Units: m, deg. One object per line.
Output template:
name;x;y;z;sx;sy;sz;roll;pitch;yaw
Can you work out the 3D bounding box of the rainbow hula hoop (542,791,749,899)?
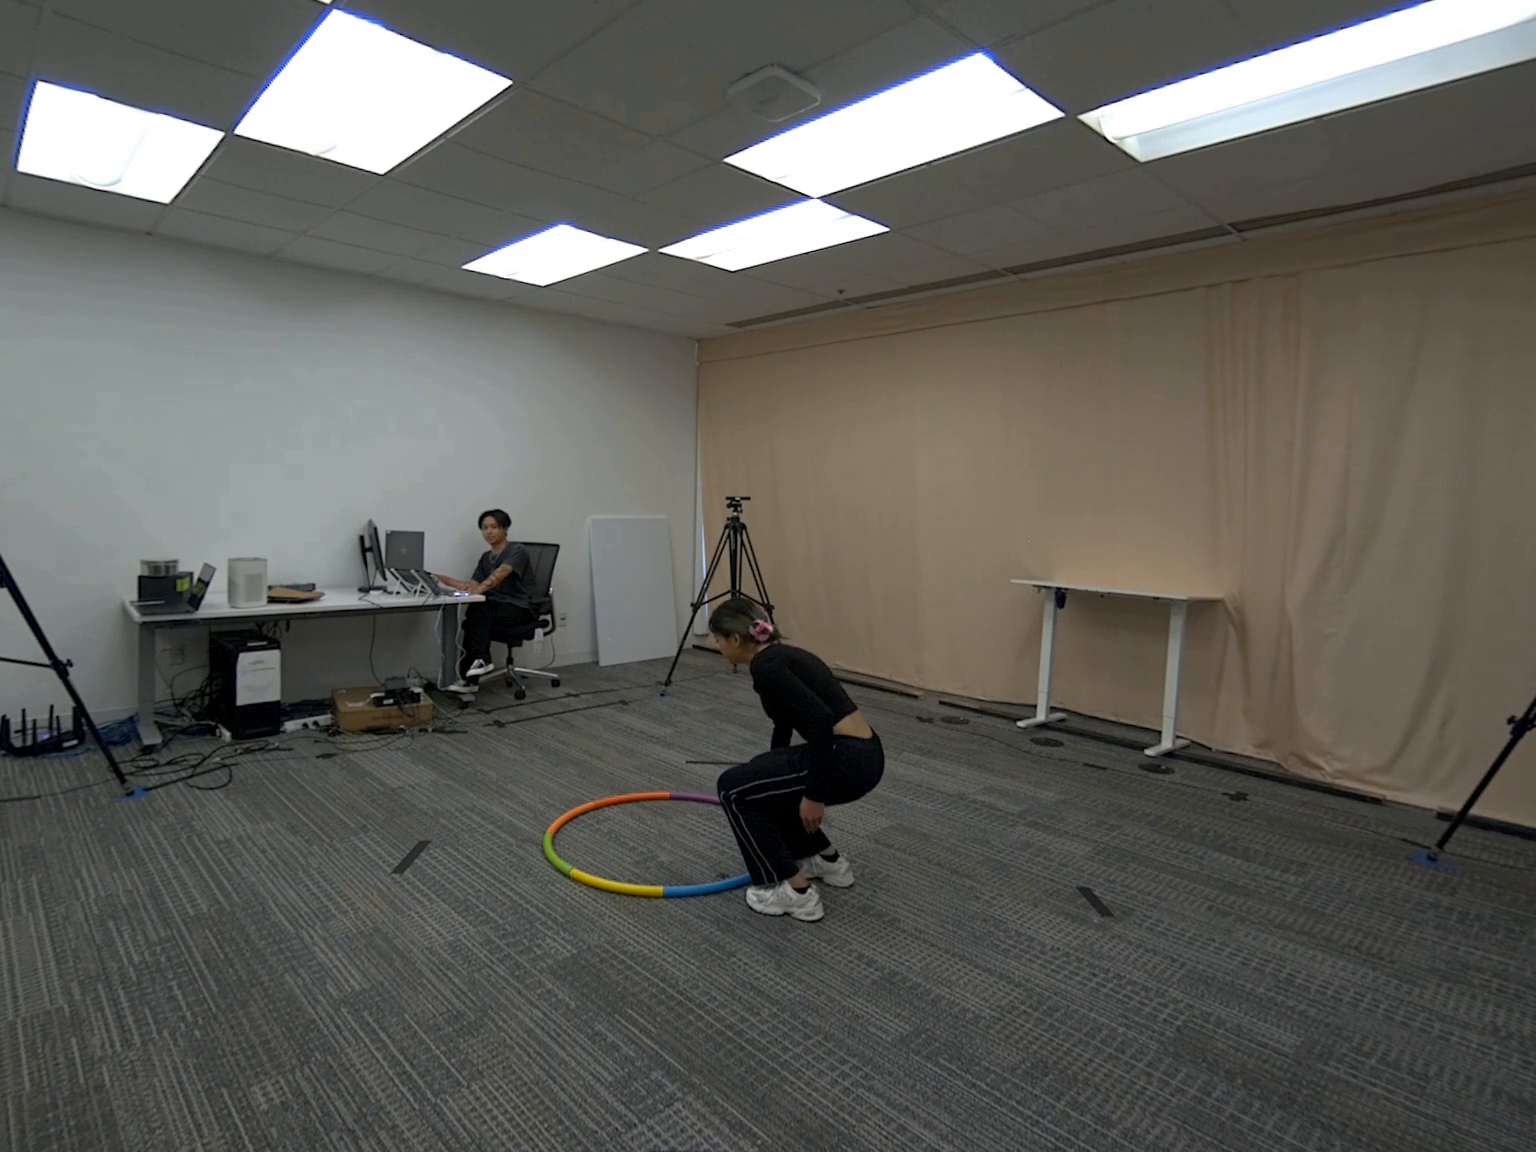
rainbow hula hoop;-0.412;1.042;3.406;0.978;0.035;0.982;2;5;-1
